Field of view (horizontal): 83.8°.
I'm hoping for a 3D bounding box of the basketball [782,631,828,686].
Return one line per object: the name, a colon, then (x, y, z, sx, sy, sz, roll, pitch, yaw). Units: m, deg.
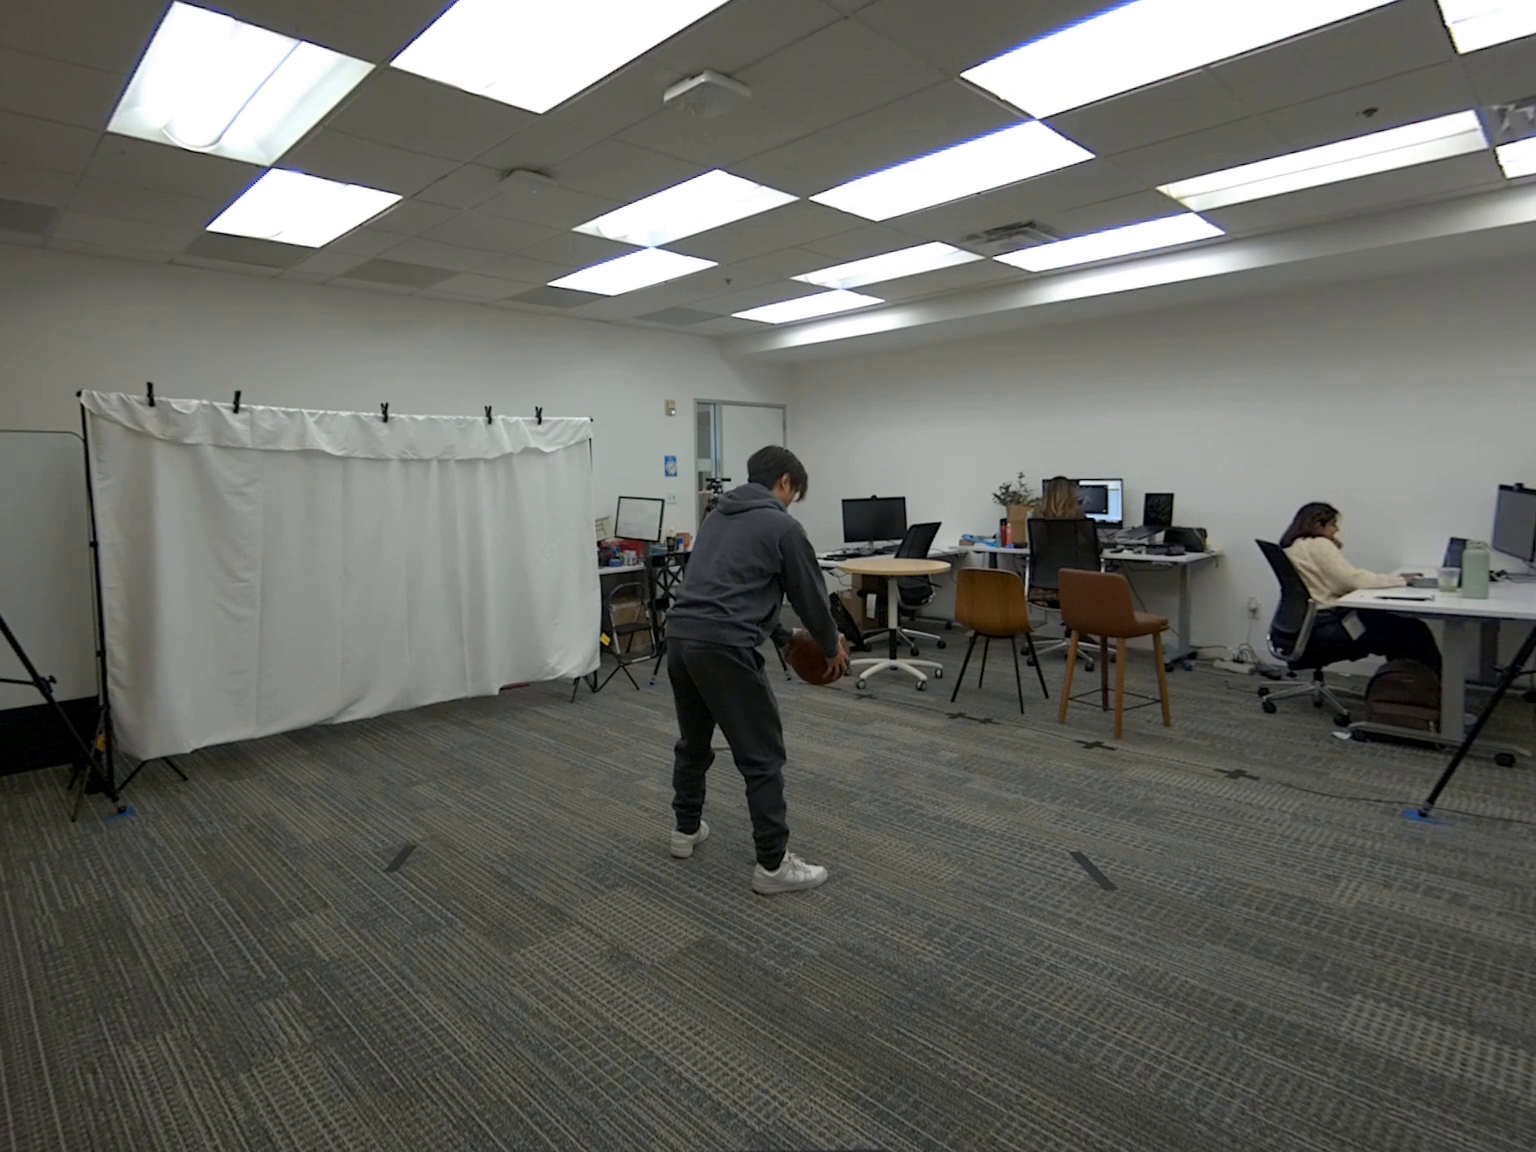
basketball: (0.205, 0.319, 3.371, 0.236, 0.235, 0.237, -1, 5, -2)
